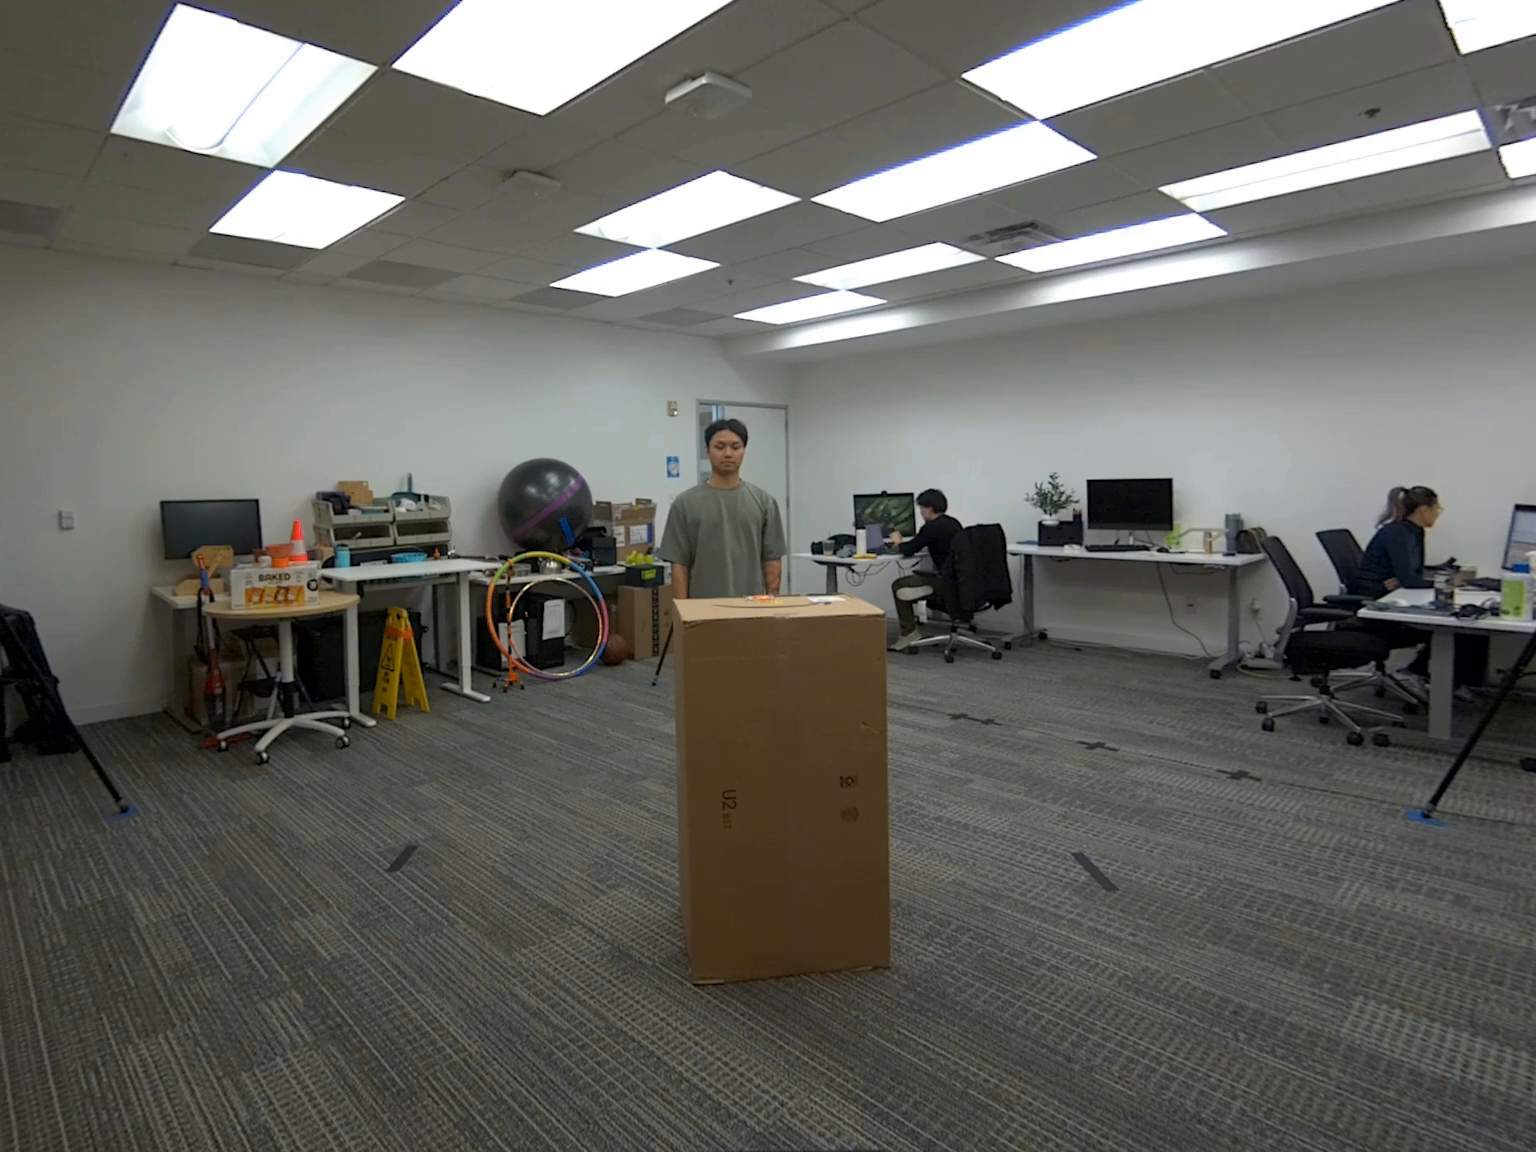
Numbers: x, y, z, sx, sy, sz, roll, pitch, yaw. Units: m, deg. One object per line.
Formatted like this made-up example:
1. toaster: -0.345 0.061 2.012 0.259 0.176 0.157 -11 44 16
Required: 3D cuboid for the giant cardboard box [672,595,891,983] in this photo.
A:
1. giant cardboard box: 0.022 0.601 2.571 0.573 1.022 0.431 -1 5 -8
